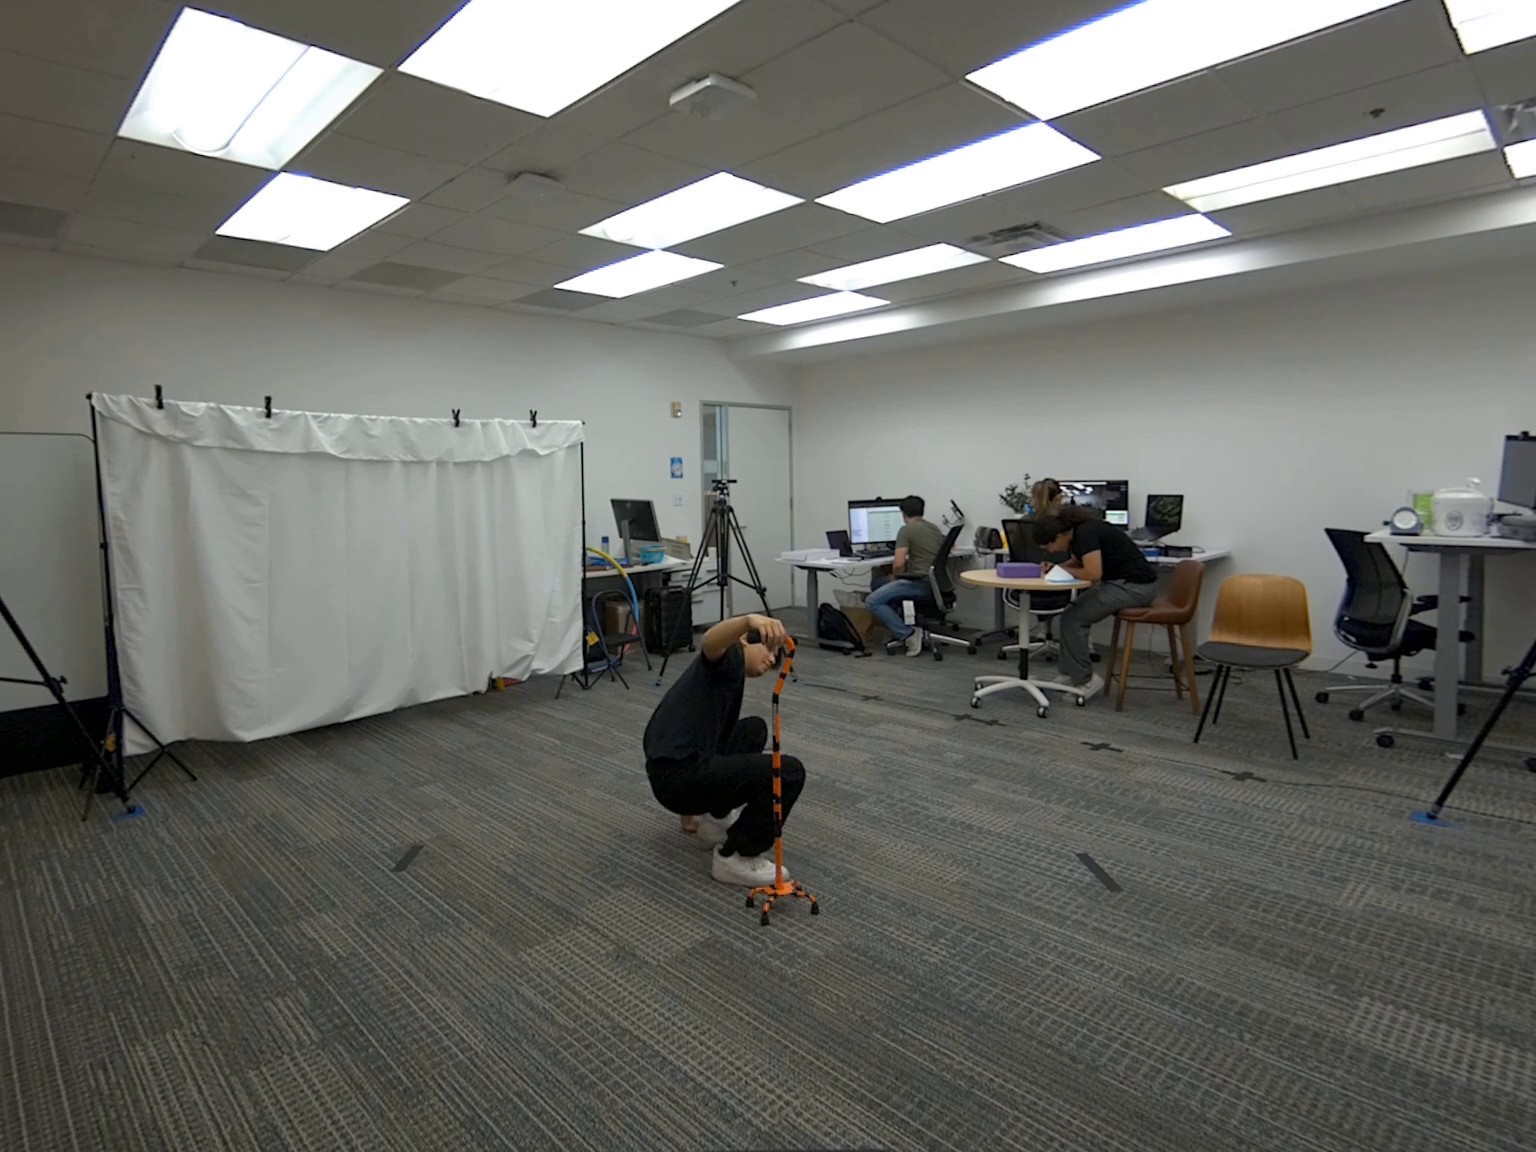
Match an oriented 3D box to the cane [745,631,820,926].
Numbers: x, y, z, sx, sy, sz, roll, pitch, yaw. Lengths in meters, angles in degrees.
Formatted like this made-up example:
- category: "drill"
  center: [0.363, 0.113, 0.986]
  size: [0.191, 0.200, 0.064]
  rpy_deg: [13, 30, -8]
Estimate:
- category: "cane"
  center: [0.040, 0.635, 2.744]
  size: [0.202, 0.905, 0.155]
  rpy_deg: [-2, 4, -23]
